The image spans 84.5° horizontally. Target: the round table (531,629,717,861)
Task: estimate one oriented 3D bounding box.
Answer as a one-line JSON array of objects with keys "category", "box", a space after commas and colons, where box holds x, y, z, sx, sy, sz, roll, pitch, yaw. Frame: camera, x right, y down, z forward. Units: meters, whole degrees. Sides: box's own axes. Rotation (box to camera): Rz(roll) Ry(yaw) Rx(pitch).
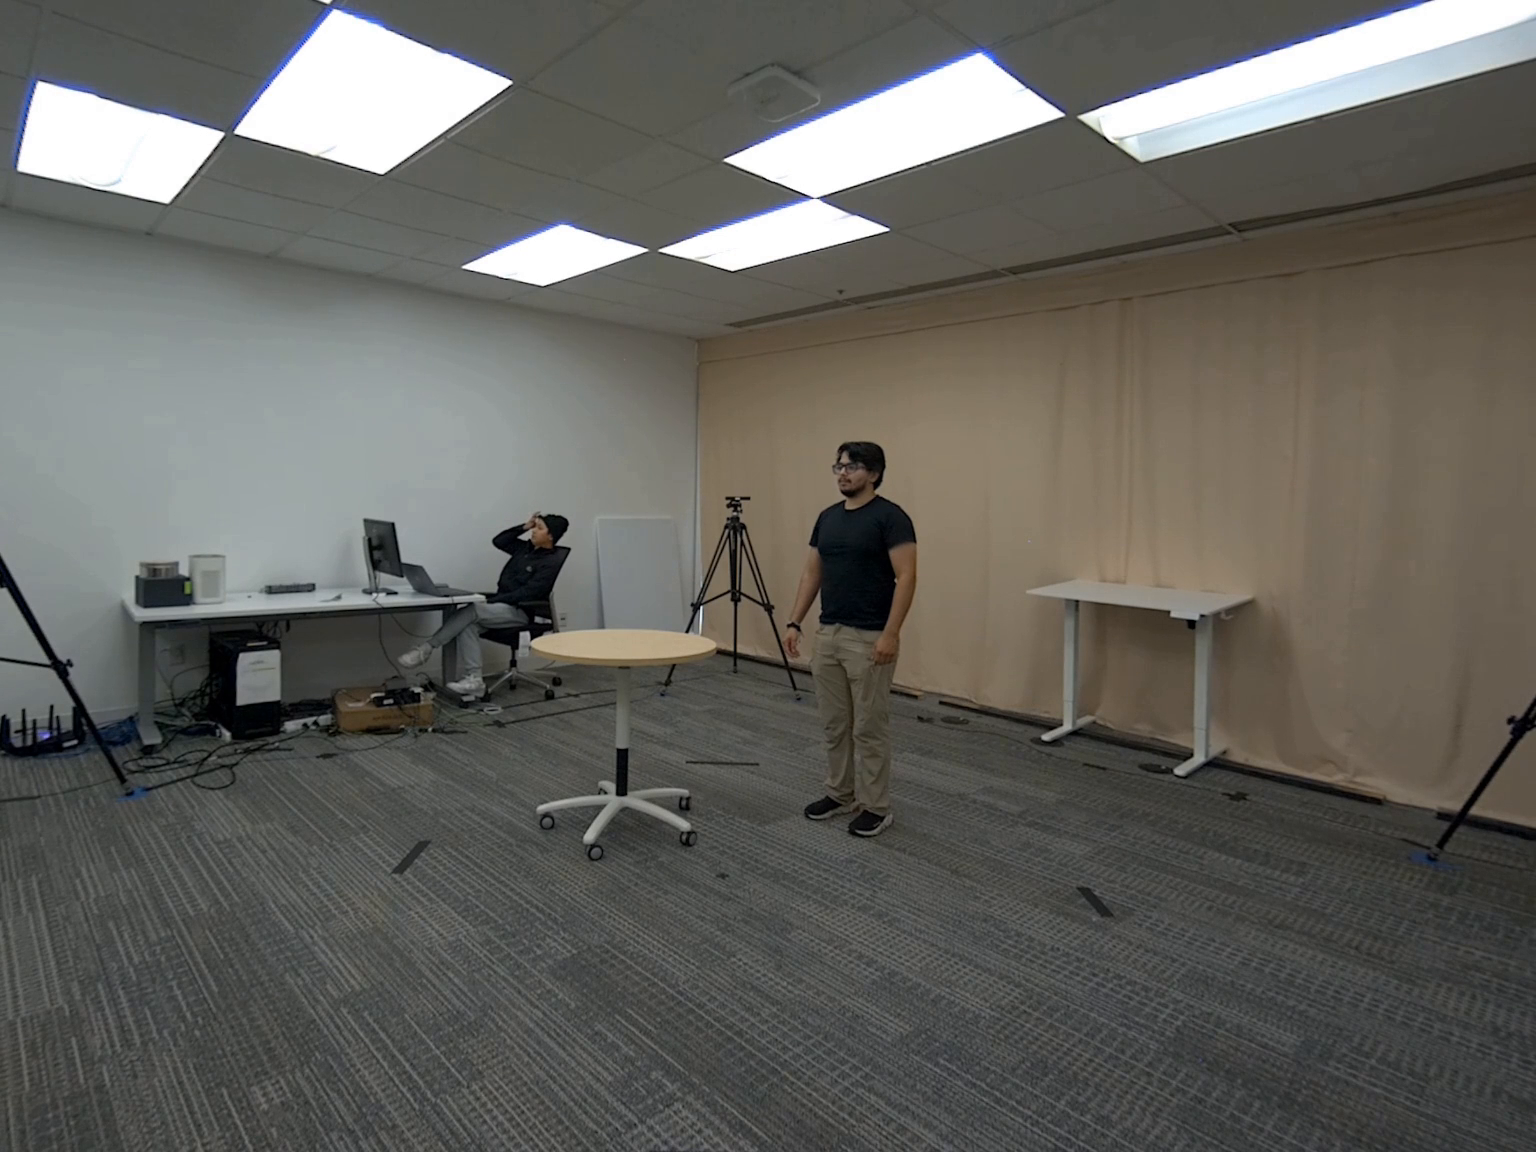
[{"category": "round table", "box": [-0.616, 0.667, 3.507, 0.784, 0.785, 0.787, 1, 3, -1]}]
